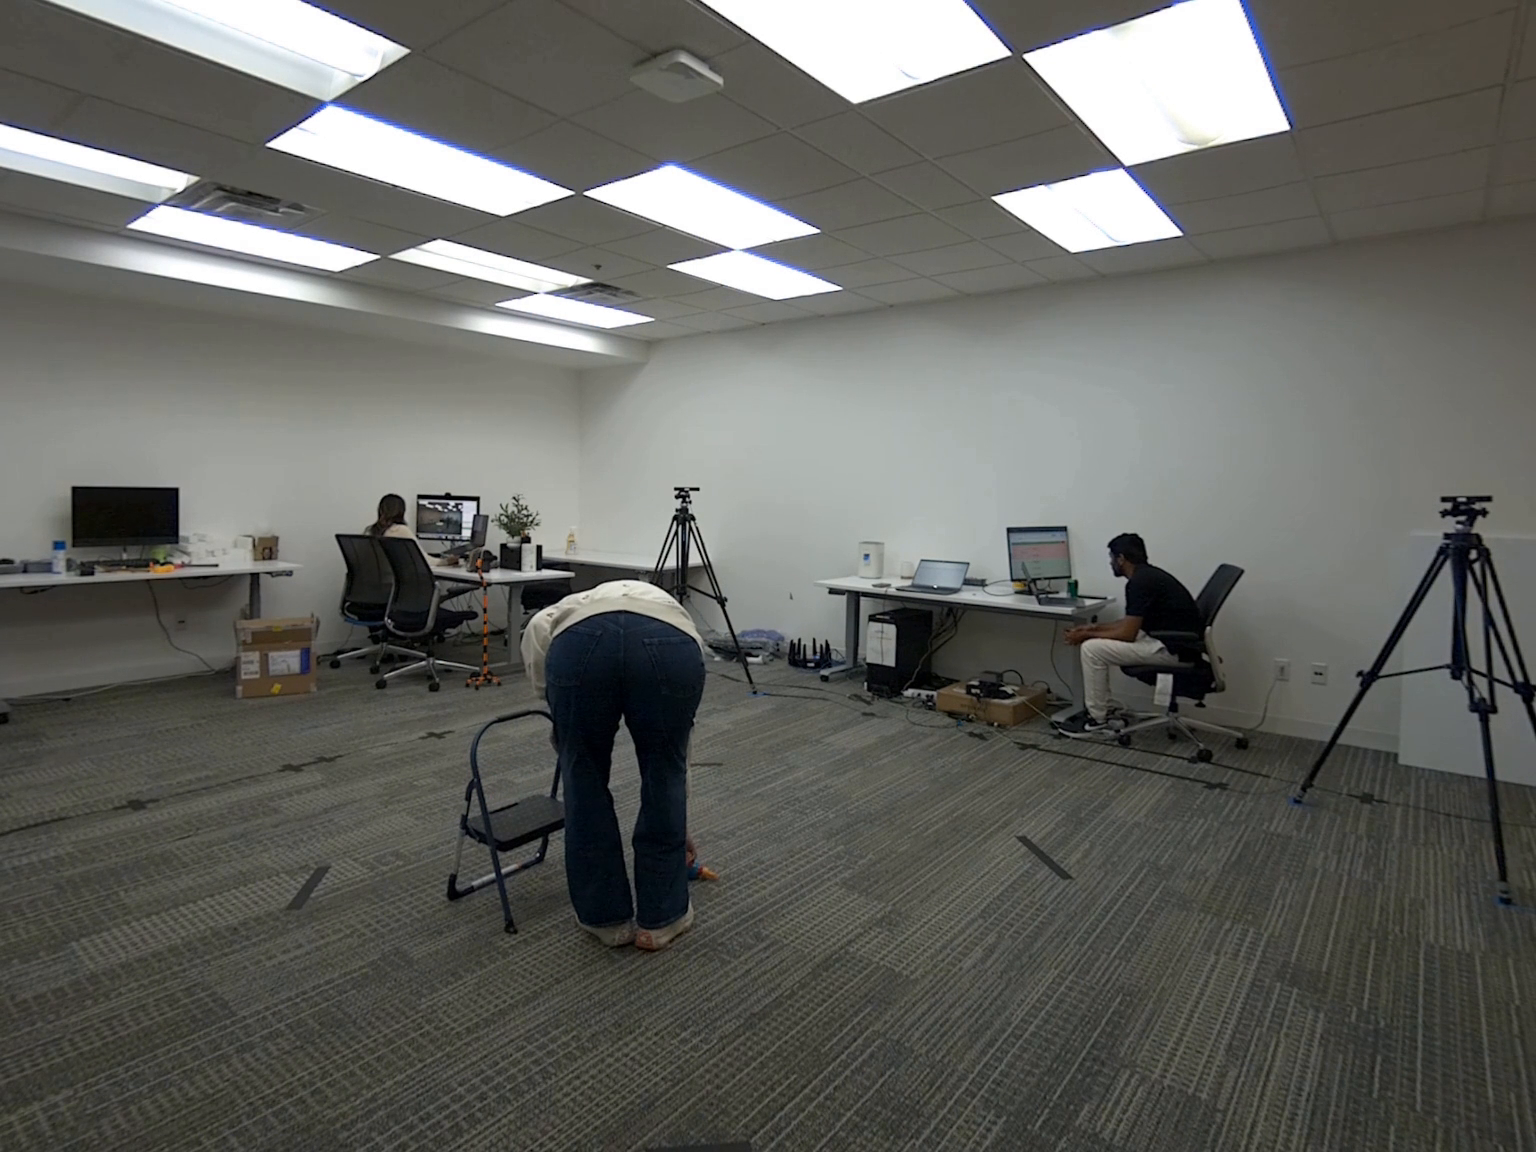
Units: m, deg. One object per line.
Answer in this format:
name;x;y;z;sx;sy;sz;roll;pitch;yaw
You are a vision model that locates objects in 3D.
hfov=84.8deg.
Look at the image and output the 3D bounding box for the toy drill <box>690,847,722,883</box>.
toy drill;-0.261;1.020;2.987;0.170;0.062;0.143;10;-38;0
